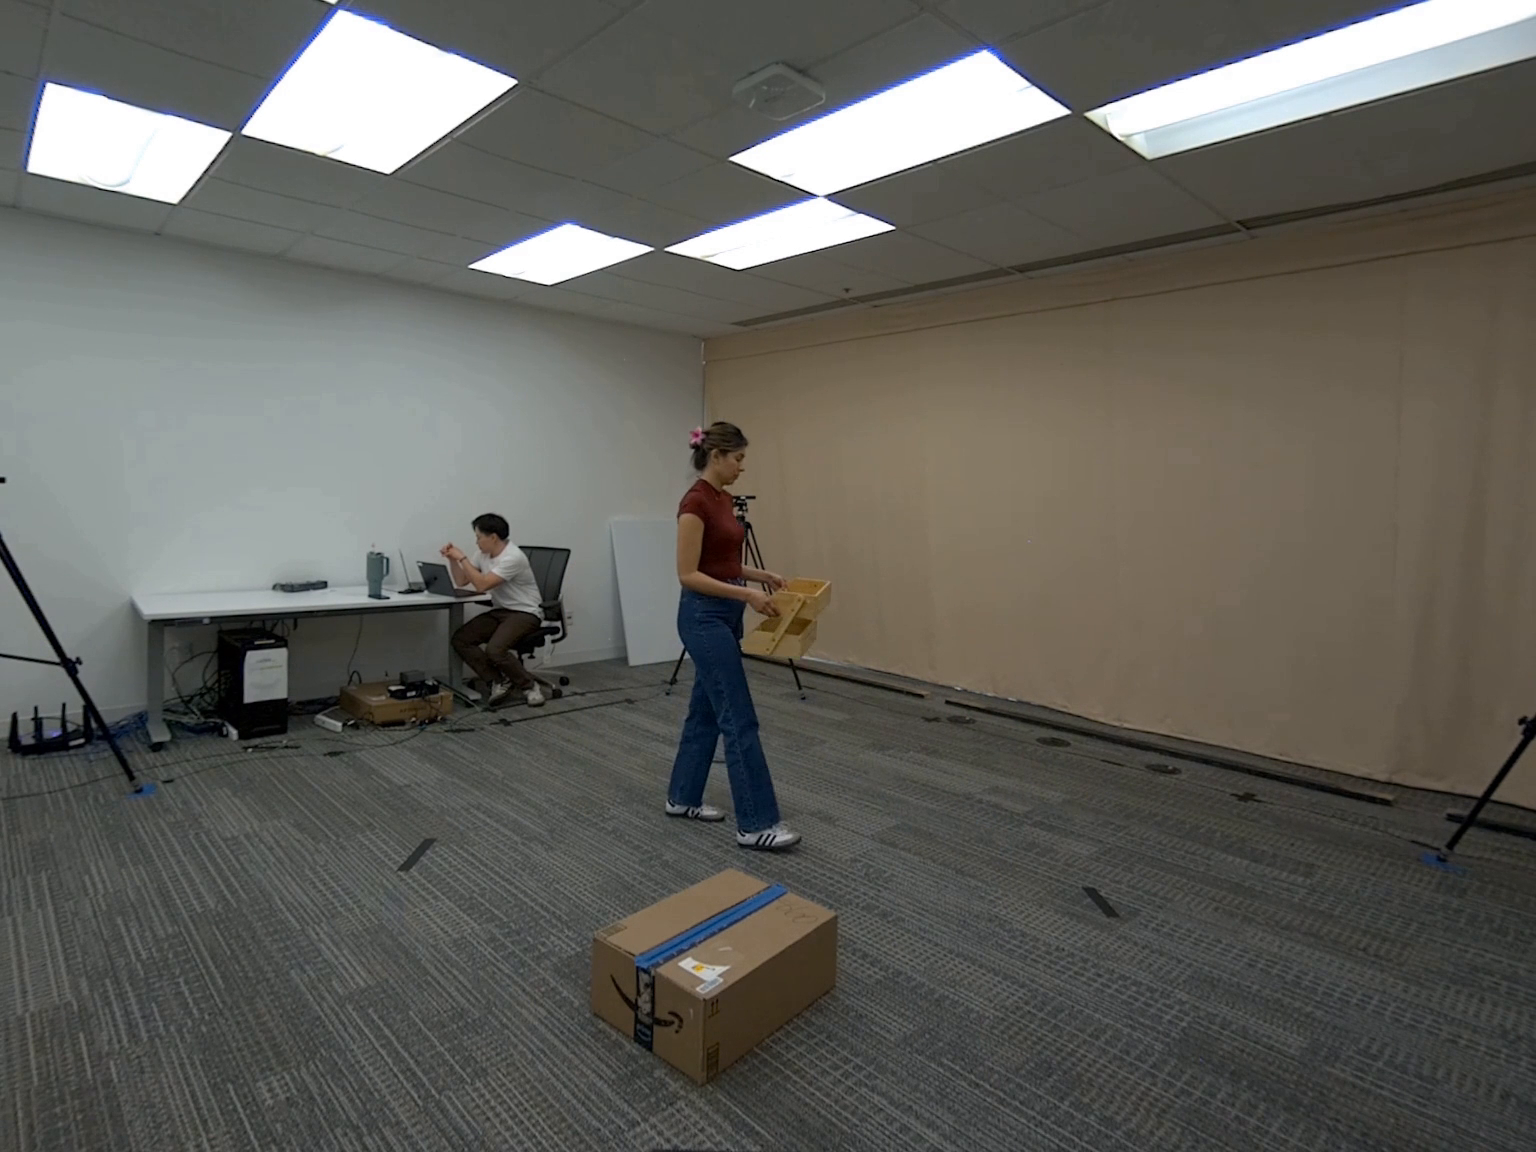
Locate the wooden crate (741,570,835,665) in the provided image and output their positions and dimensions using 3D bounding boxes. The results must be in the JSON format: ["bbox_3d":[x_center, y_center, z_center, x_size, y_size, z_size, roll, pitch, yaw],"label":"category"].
[{"bbox_3d":[0.074,0.157,3.422,0.306,0.271,0.322,7,12,17],"label":"wooden crate"}]
